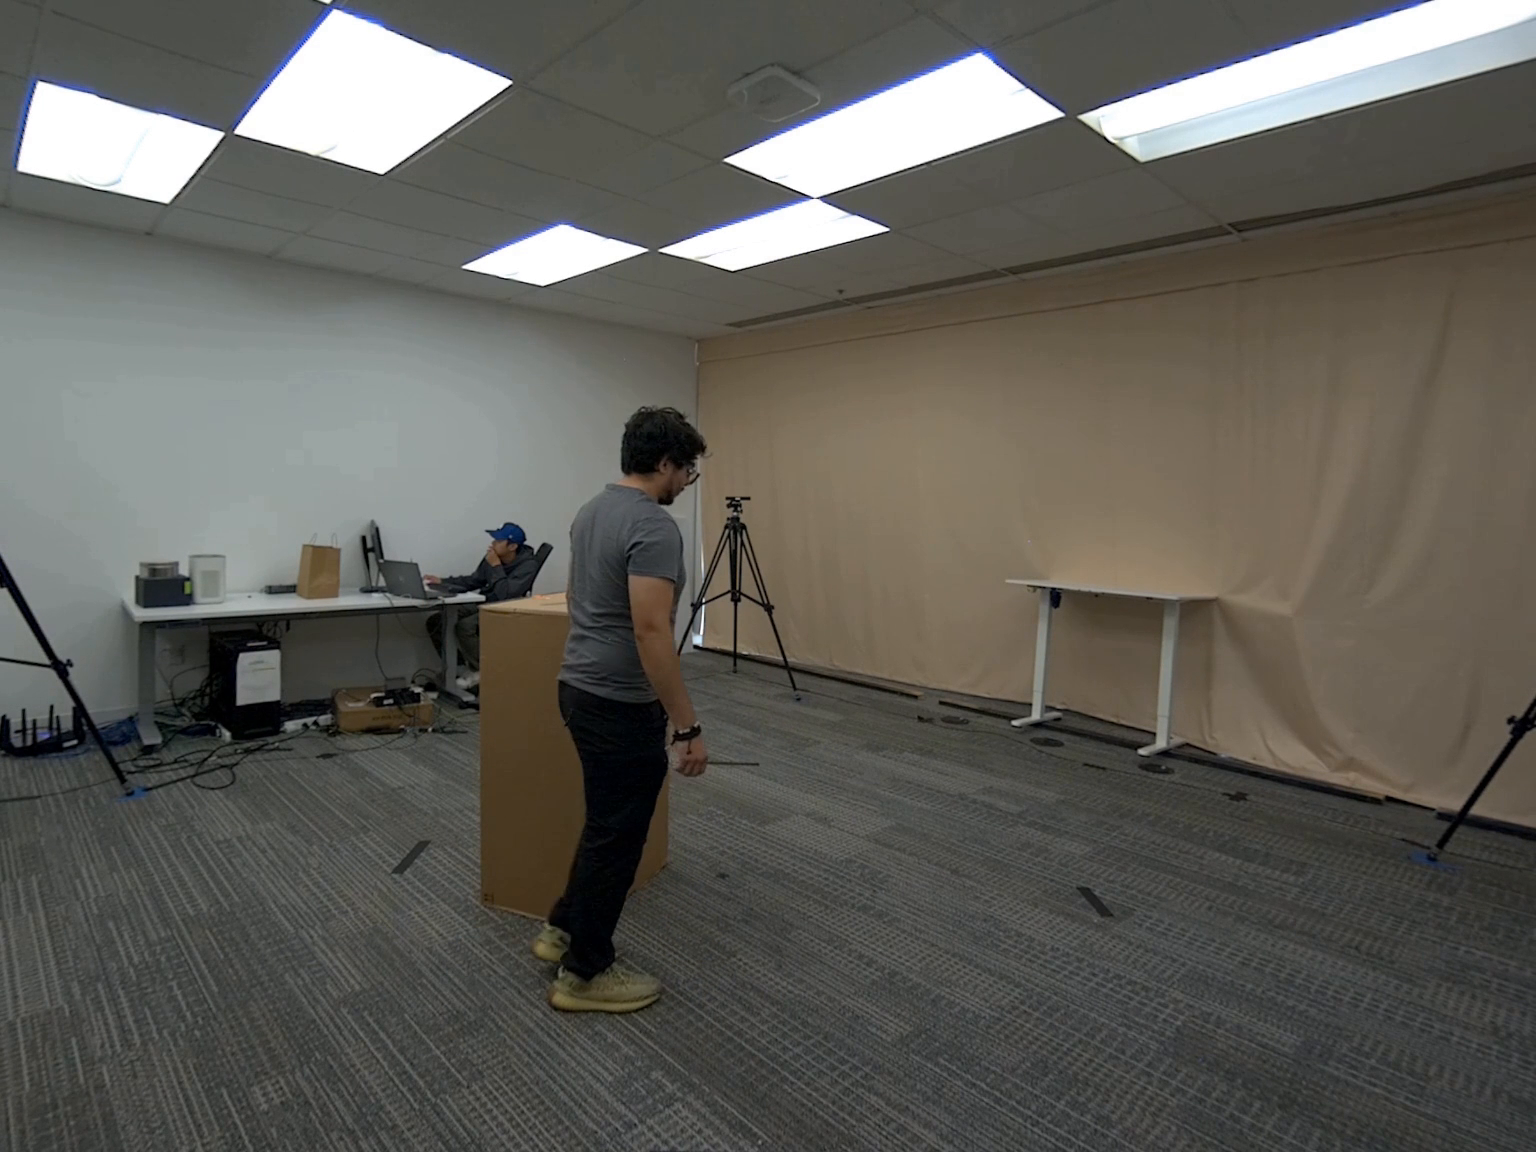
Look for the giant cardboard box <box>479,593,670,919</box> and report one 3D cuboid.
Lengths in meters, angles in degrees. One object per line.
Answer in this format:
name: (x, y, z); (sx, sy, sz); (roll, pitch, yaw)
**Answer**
giant cardboard box: (-0.679, 0.599, 2.996); (0.455, 1.024, 0.575); (3, 4, 22)
